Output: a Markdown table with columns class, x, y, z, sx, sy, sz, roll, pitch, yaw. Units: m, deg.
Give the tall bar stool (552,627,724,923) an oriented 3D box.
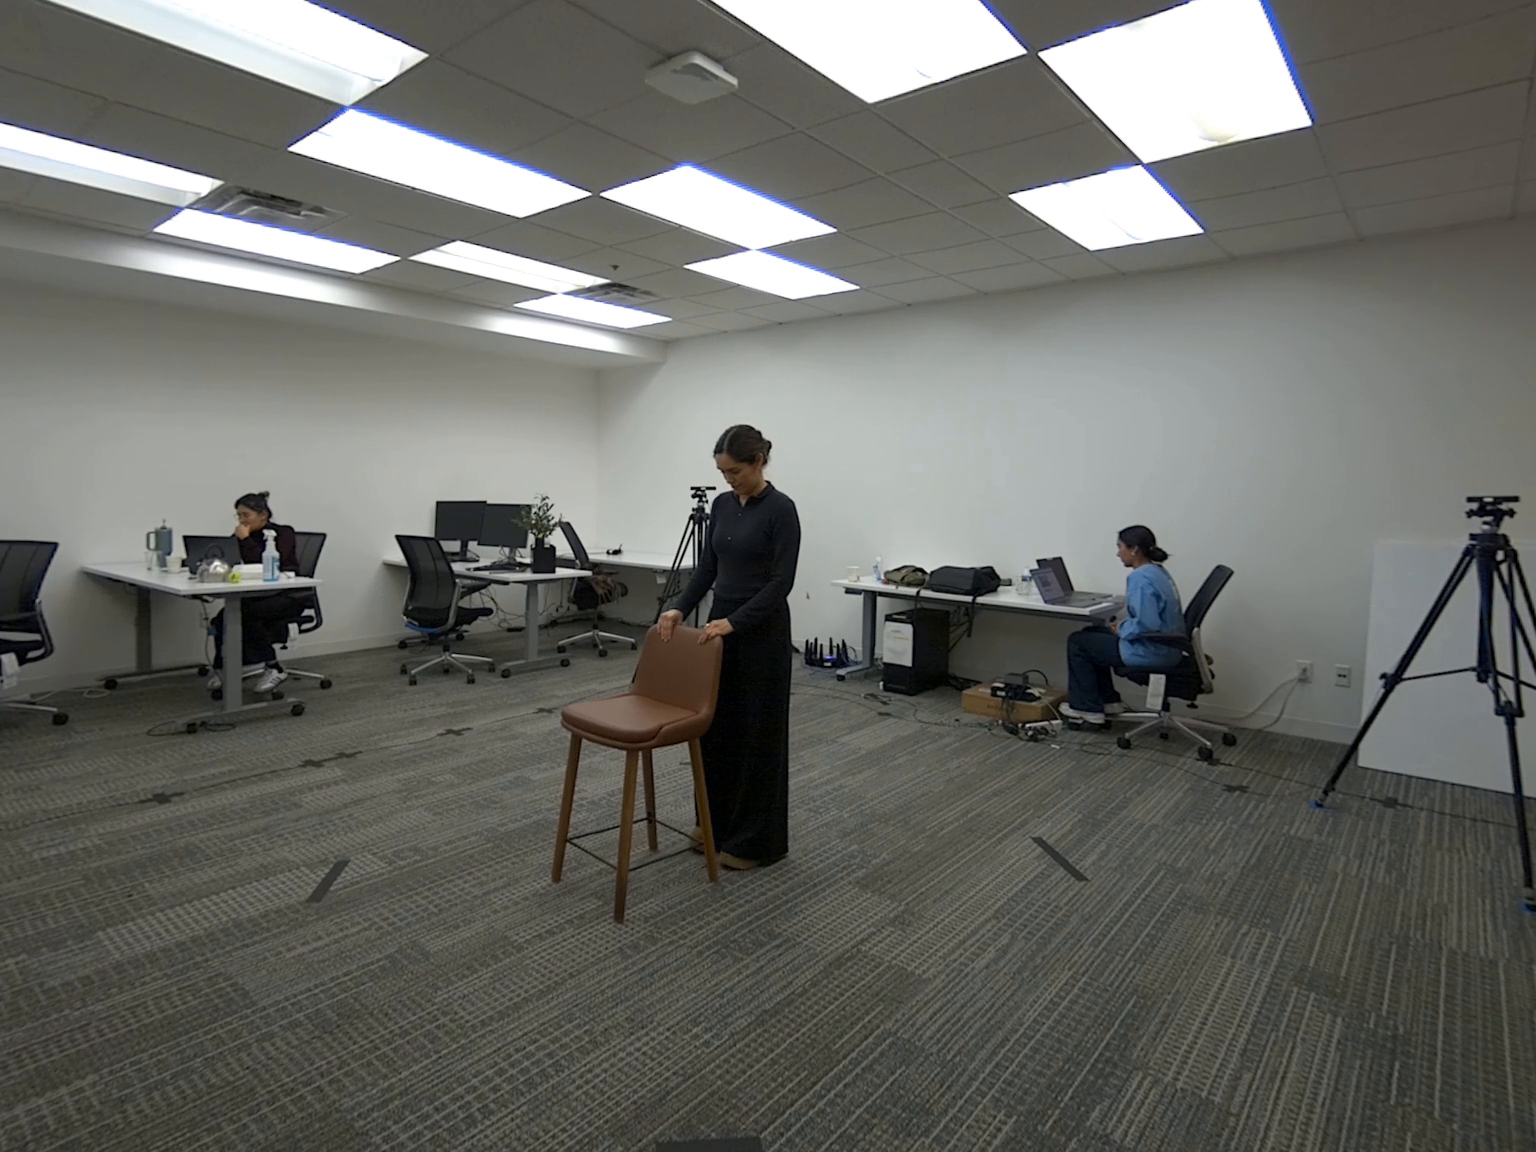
| class | x | y | z | sx | sy | sz | roll | pitch | yaw |
| --- | --- | --- | --- | --- | --- | --- | --- | --- | --- |
| tall bar stool | -0.455 | 0.634 | 2.979 | 0.452 | 0.889 | 0.472 | 2 | 2 | -44 |
